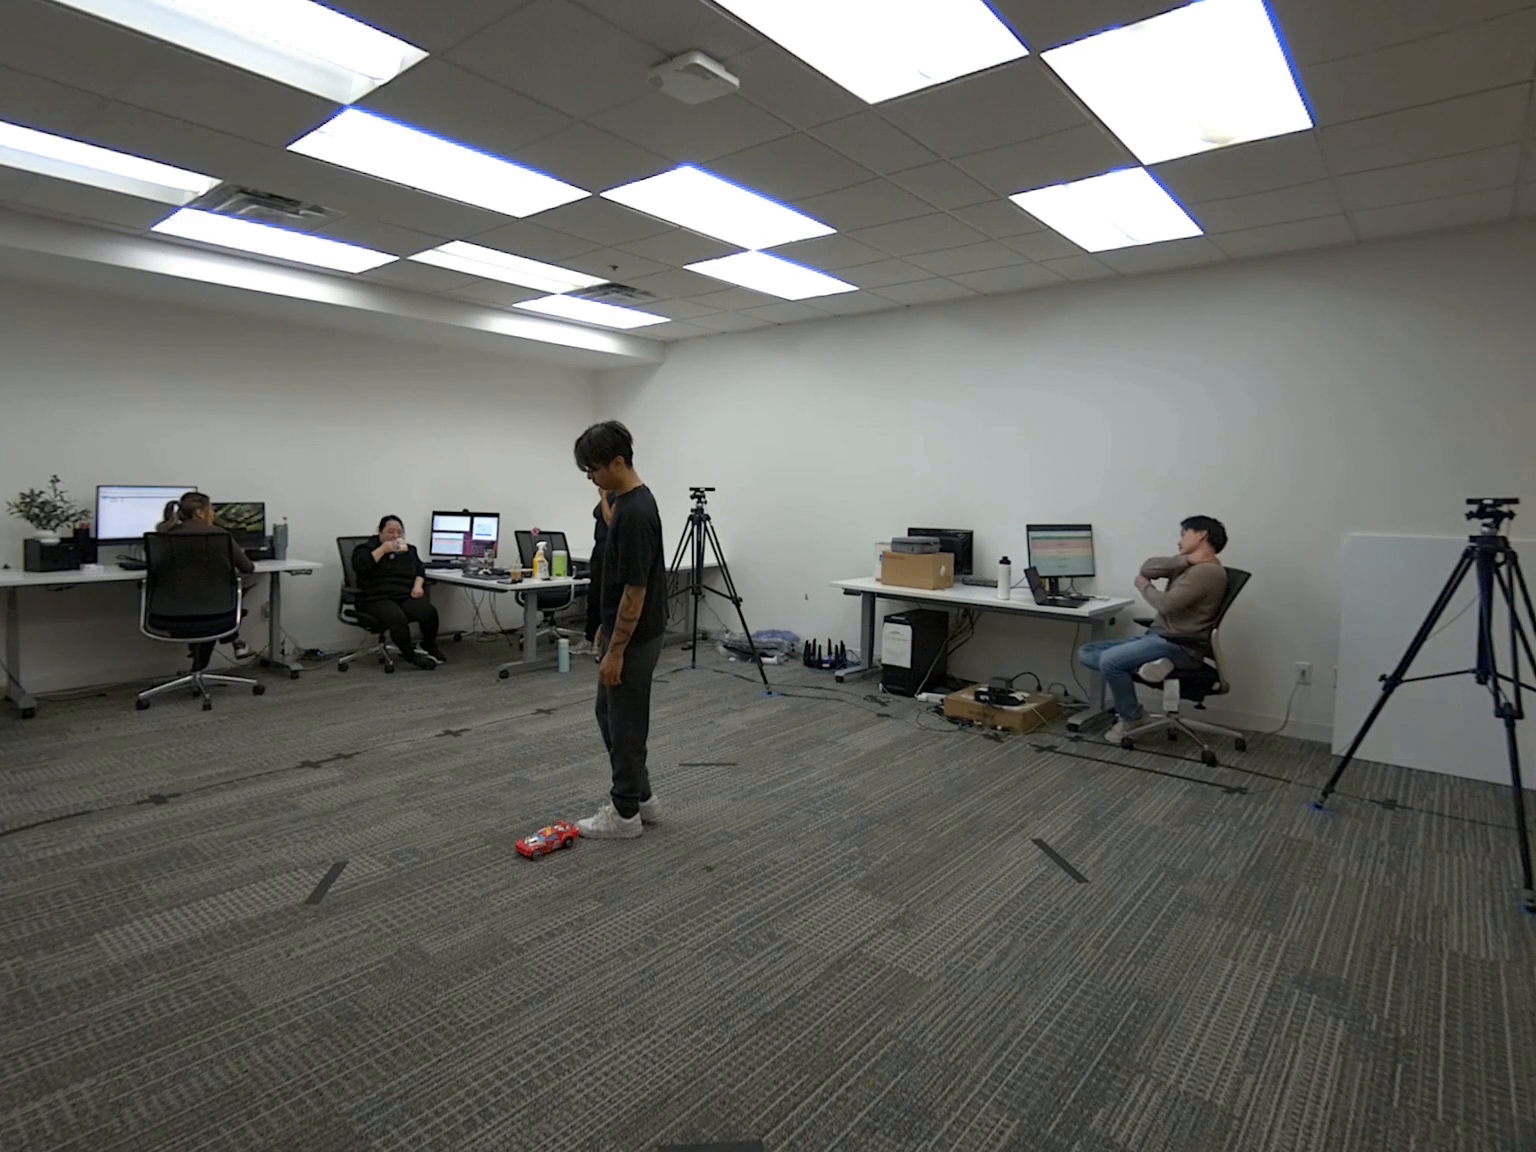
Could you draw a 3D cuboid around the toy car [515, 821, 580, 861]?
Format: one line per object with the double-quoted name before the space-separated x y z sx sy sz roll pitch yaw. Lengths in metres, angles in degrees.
"toy car" -0.852 1.009 3.256 0.135 0.082 0.249 5 17 41
